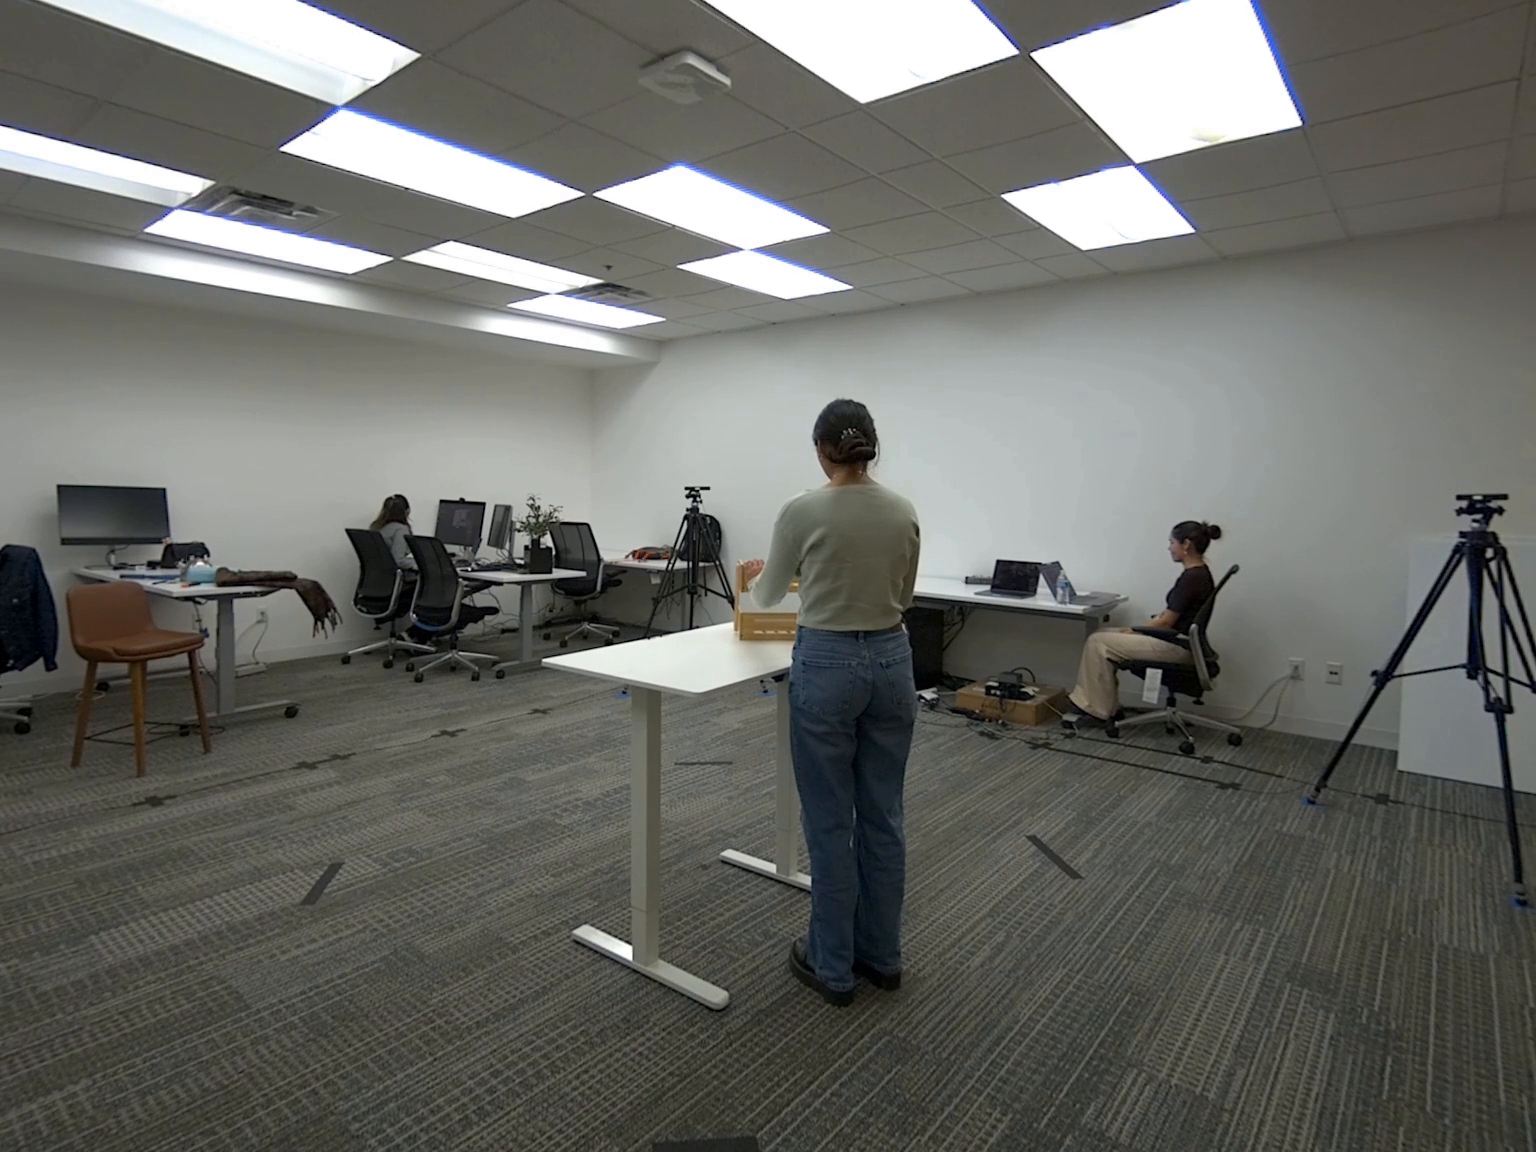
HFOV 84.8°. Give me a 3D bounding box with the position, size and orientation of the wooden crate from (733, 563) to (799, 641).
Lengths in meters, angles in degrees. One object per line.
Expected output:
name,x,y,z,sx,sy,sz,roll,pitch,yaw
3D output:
wooden crate,0.037,0.071,2.931,0.323,0.272,0.304,0,4,-5
